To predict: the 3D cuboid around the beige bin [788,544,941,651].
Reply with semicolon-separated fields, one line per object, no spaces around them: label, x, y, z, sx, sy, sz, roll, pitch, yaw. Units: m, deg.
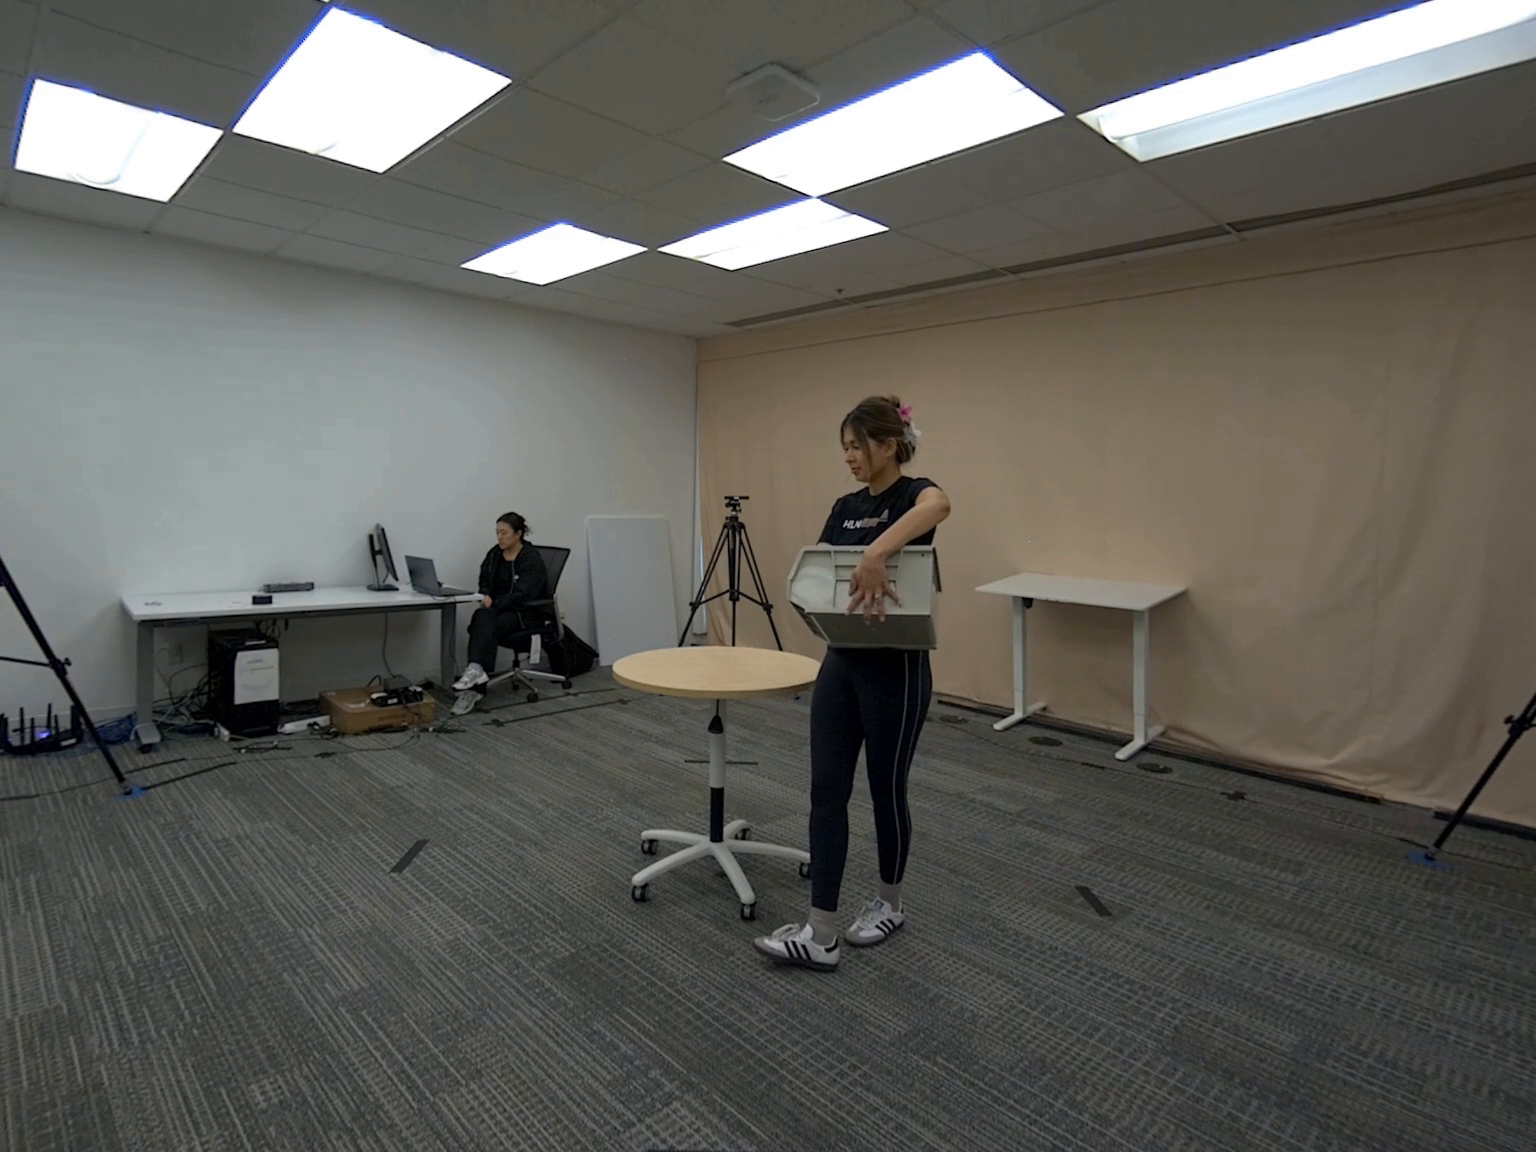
beige bin;0.267;0.067;2.330;0.382;0.191;0.412;3;-17;16
